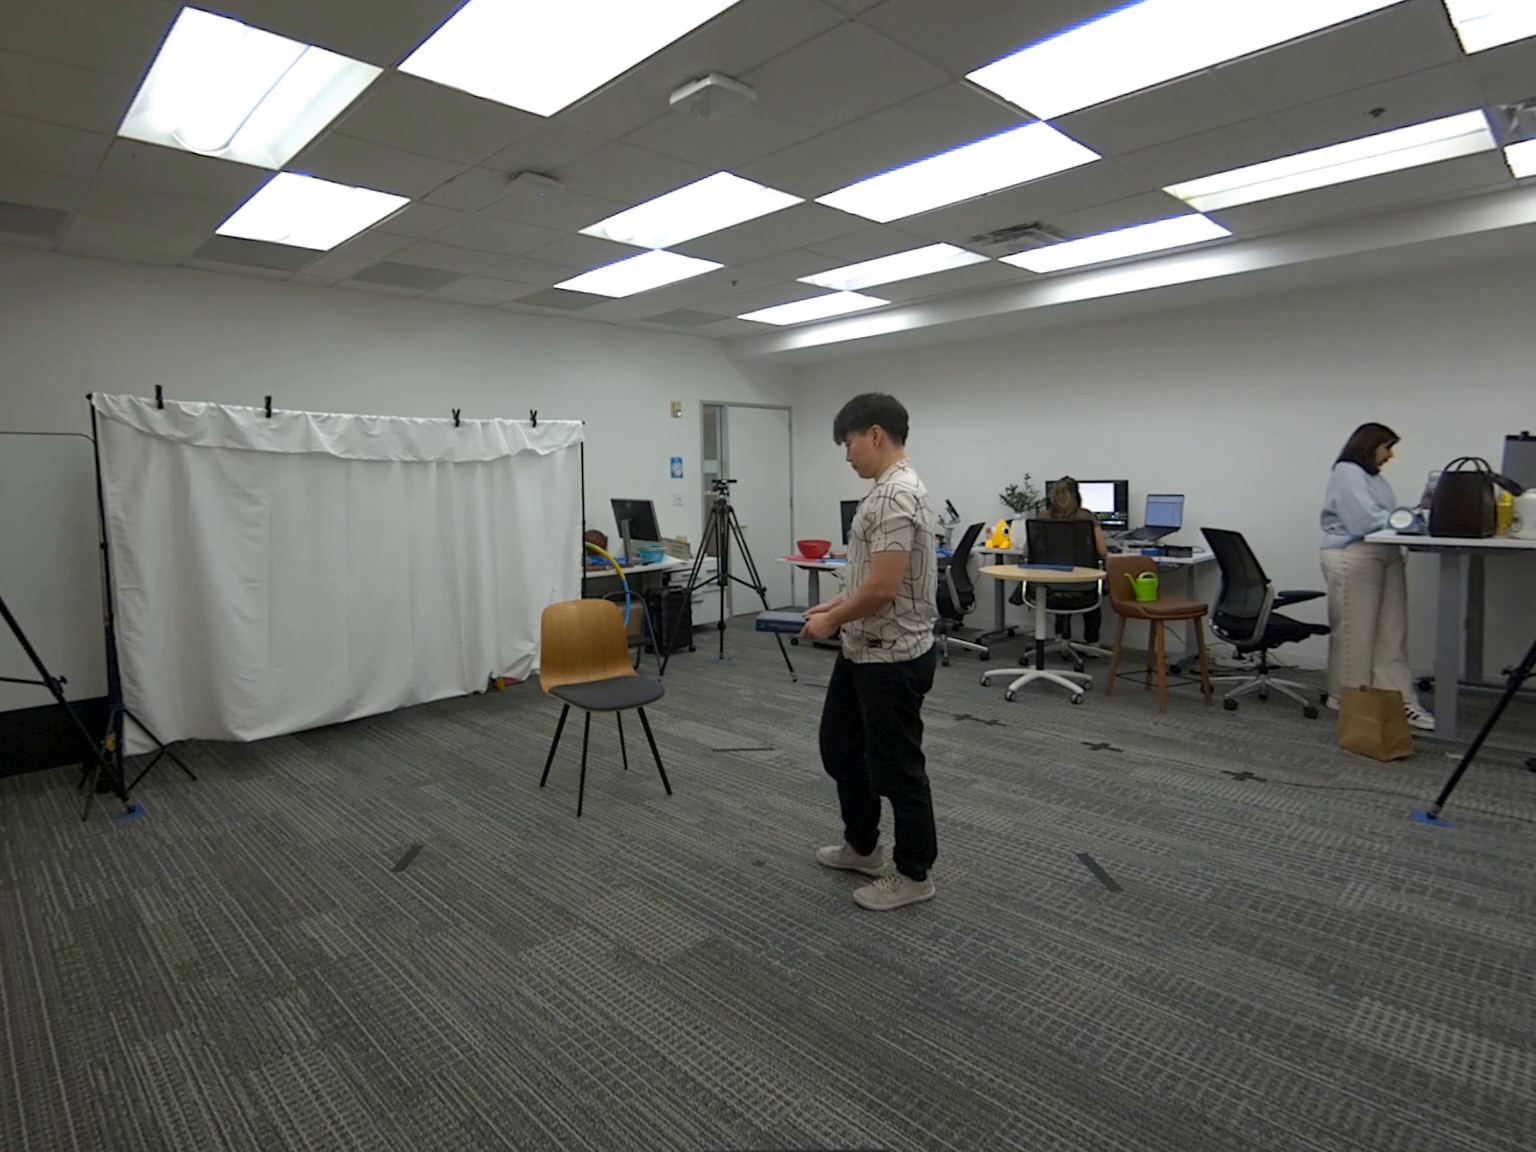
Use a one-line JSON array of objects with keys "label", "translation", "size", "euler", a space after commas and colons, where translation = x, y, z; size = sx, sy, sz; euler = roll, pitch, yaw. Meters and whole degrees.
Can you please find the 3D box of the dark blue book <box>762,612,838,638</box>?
[{"label": "dark blue book", "translation": [0.110, 0.159, 2.821], "size": [0.247, 0.045, 0.163], "euler": [2, 5, 6]}]
